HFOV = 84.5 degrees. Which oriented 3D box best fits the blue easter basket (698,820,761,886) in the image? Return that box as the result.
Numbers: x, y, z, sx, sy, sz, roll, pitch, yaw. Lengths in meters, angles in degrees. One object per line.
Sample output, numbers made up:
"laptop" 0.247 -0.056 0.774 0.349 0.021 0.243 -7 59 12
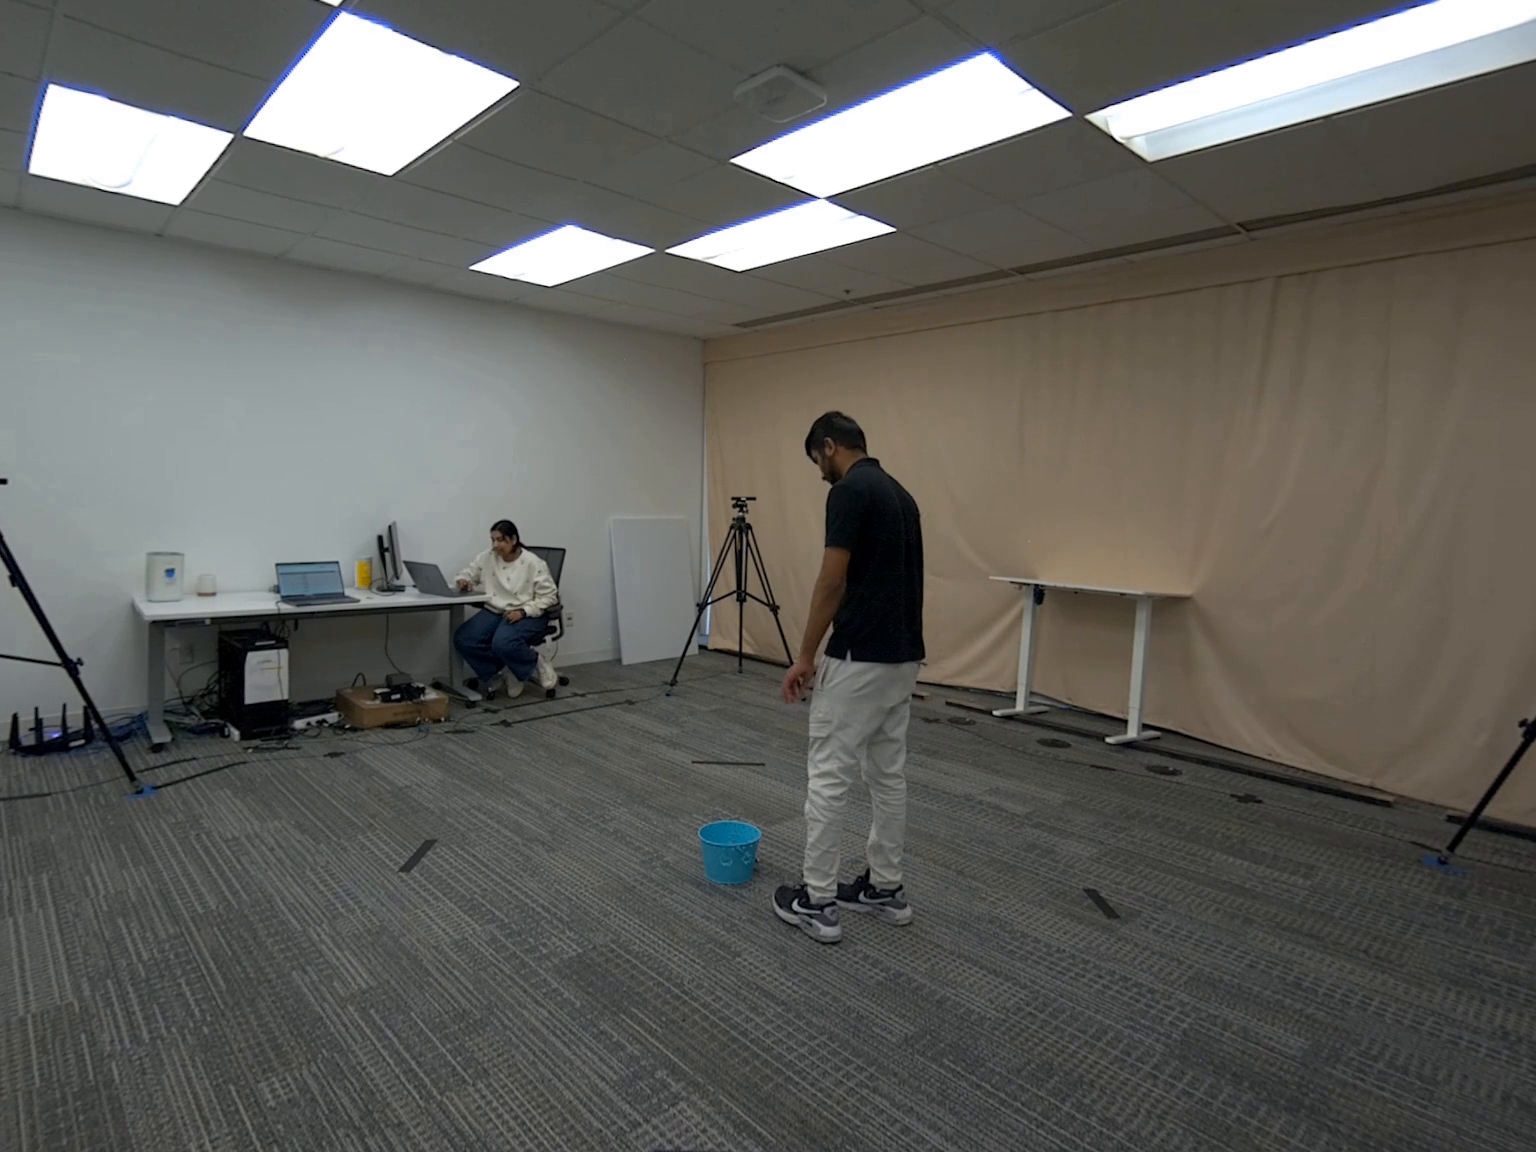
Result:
"blue easter basket" -0.145 1.023 3.122 0.243 0.155 0.244 1 5 -1
